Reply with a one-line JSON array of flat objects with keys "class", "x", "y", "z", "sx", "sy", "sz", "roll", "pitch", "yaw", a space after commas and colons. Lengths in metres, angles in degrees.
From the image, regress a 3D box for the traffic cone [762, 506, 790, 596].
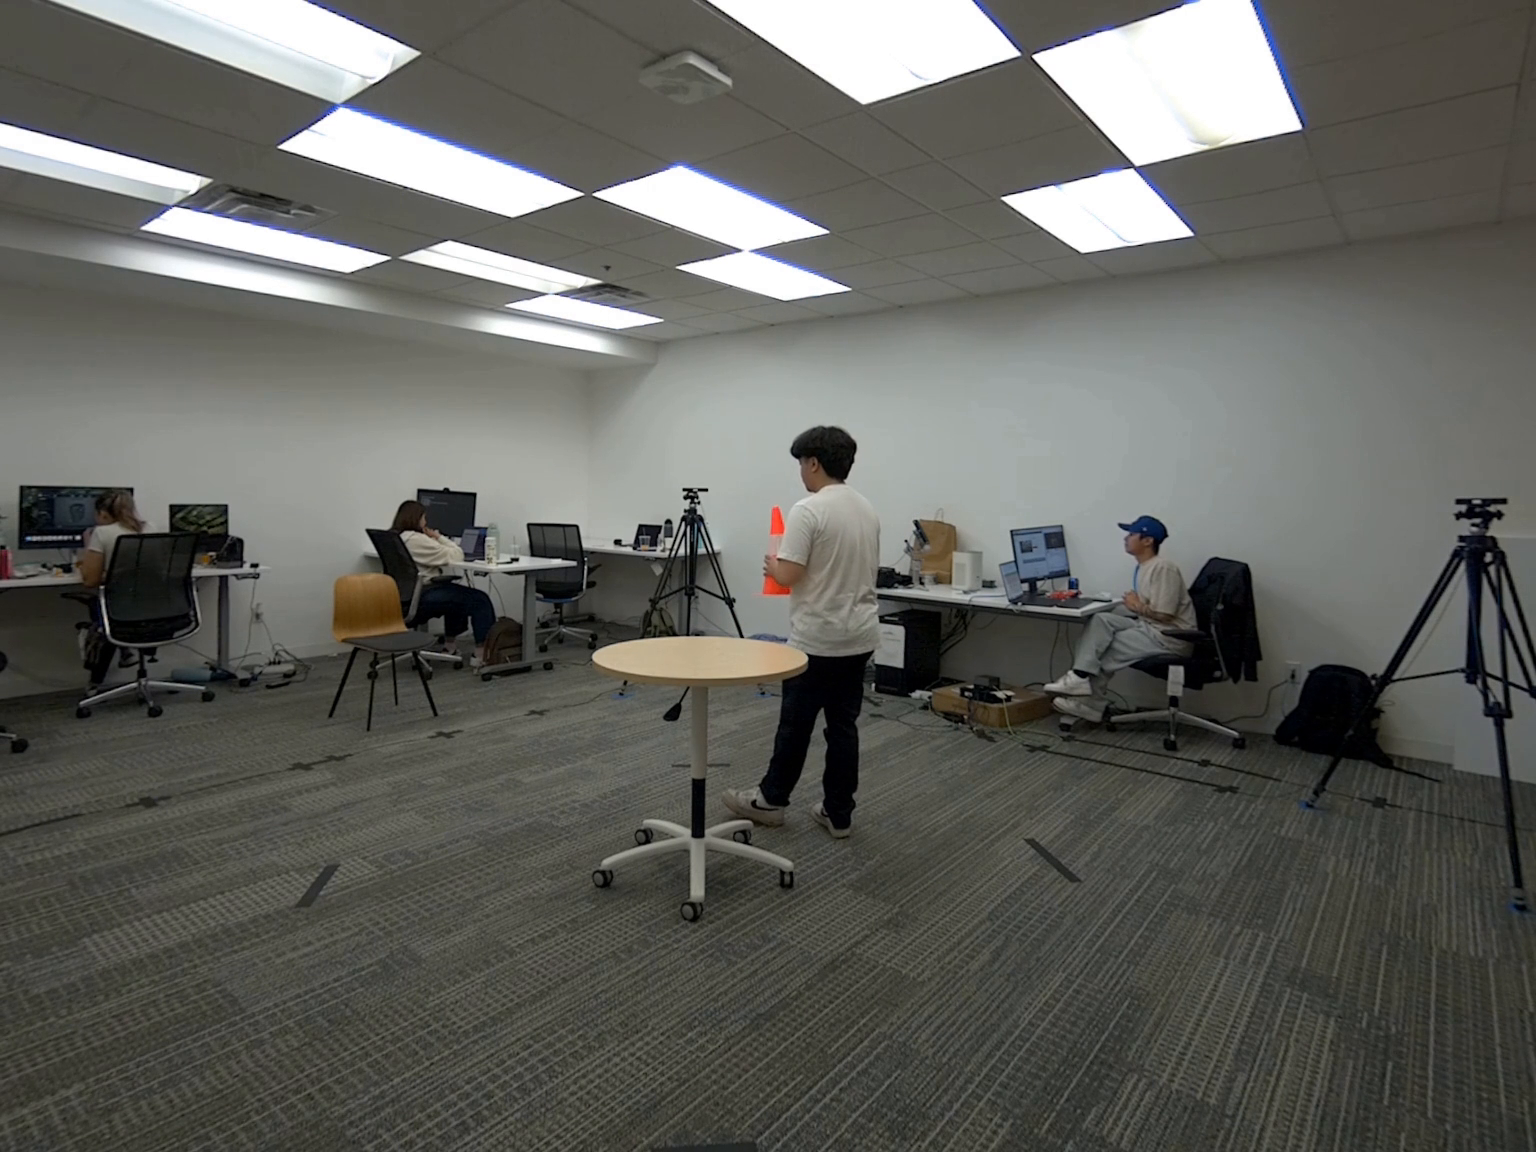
[{"class": "traffic cone", "x": 0.038, "y": -0.119, "z": 3.699, "sx": 0.208, "sy": 0.384, "sz": 0.200, "roll": -7, "pitch": -1, "yaw": 26}]
